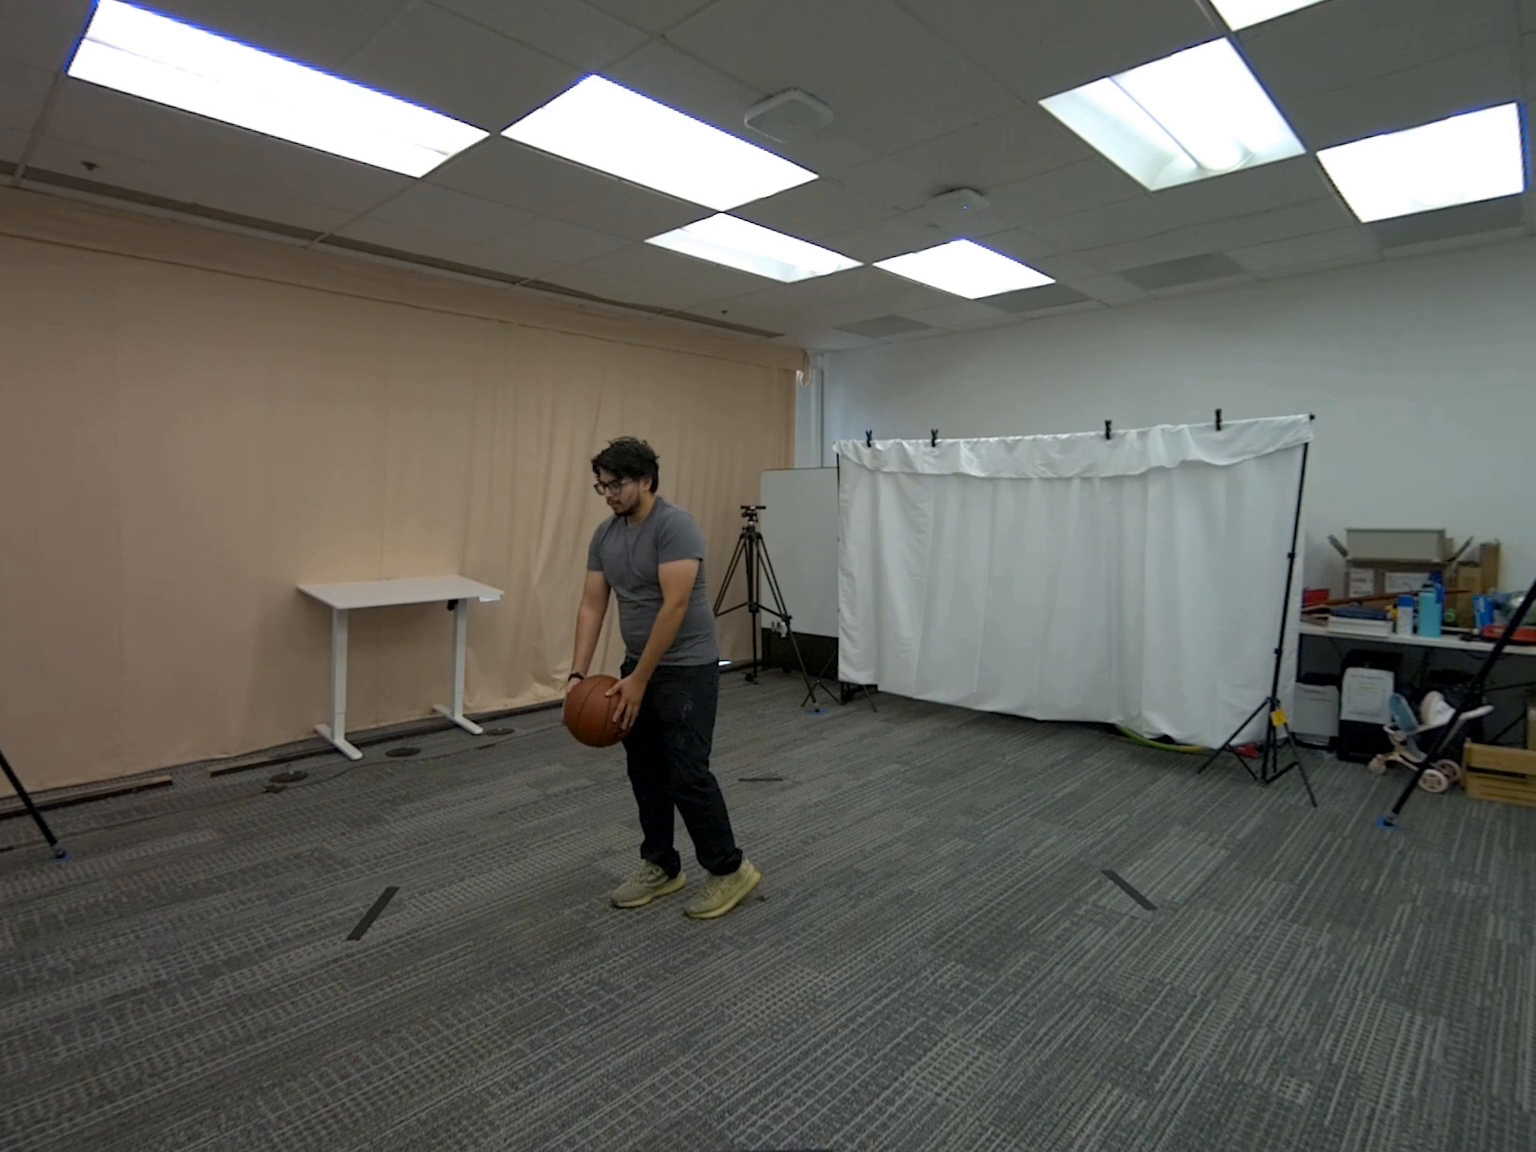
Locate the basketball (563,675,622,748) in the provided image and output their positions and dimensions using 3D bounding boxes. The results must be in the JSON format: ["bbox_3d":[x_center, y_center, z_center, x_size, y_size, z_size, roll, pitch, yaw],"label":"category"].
[{"bbox_3d":[-0.556,0.439,2.809,0.236,0.235,0.237,0,4,-2],"label":"basketball"}]
